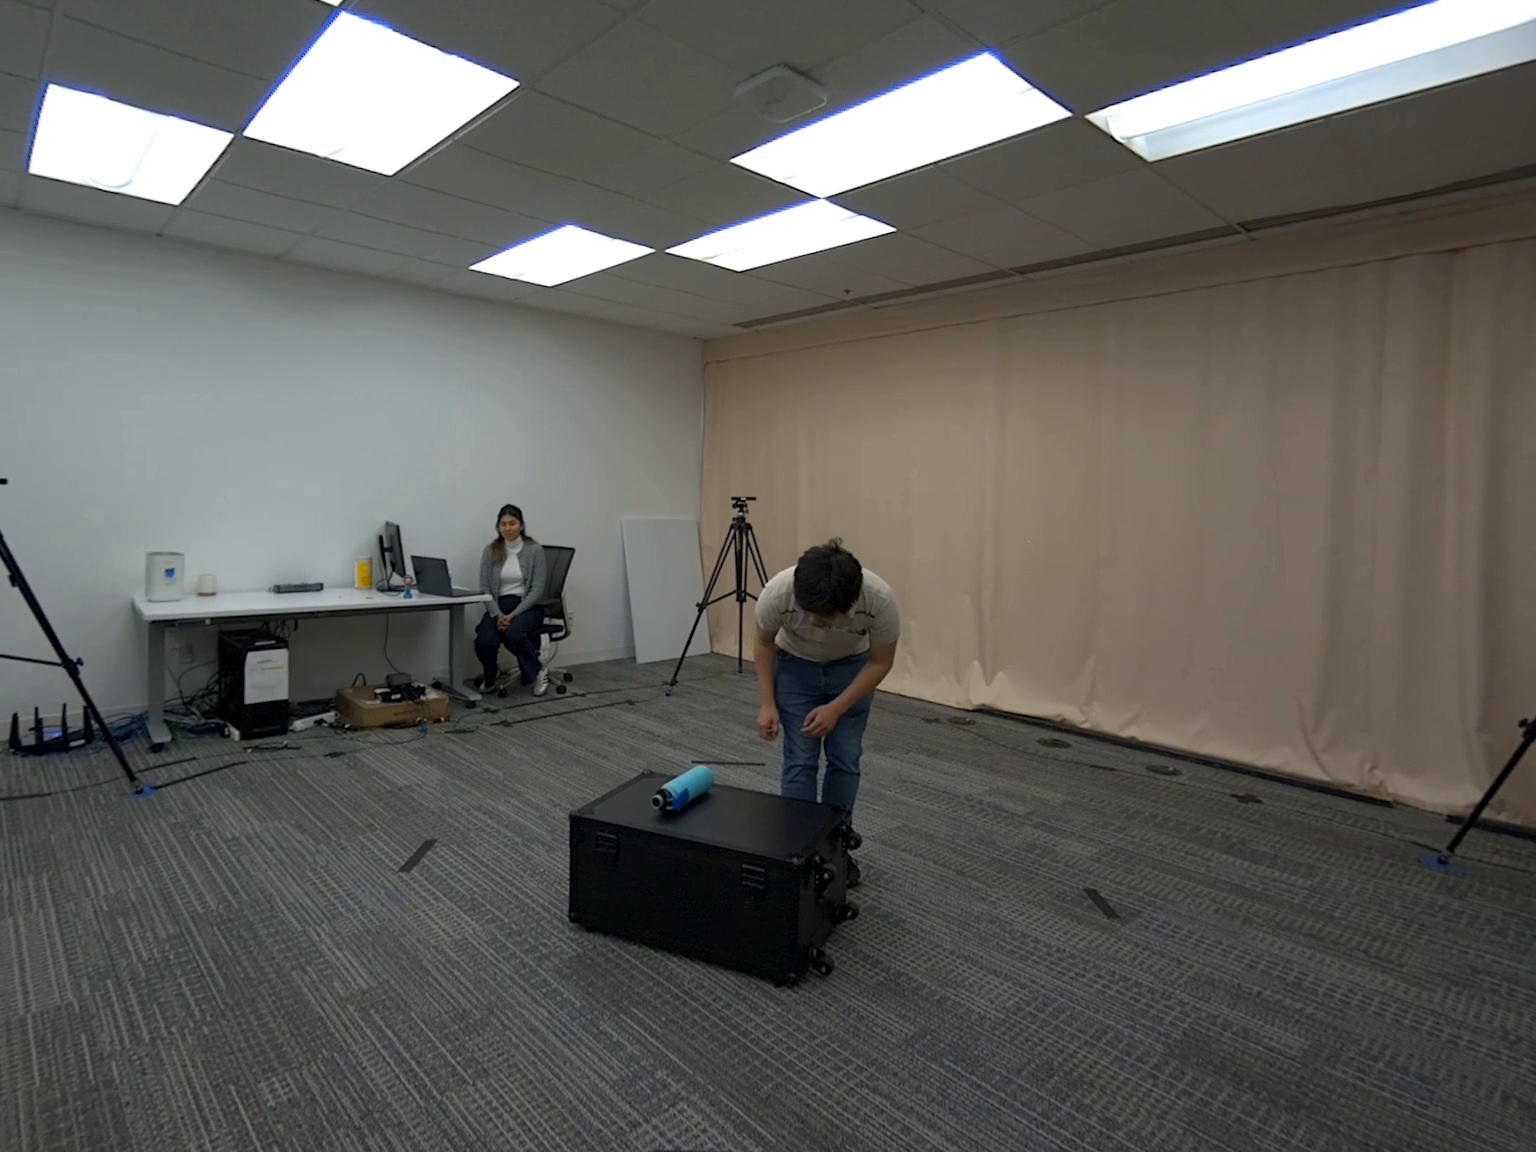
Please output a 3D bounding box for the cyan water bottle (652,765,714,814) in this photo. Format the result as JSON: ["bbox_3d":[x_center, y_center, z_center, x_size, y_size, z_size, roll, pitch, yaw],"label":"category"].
[{"bbox_3d":[-0.291,0.709,2.794,0.094,0.092,0.279,3,7,24],"label":"cyan water bottle"}]
